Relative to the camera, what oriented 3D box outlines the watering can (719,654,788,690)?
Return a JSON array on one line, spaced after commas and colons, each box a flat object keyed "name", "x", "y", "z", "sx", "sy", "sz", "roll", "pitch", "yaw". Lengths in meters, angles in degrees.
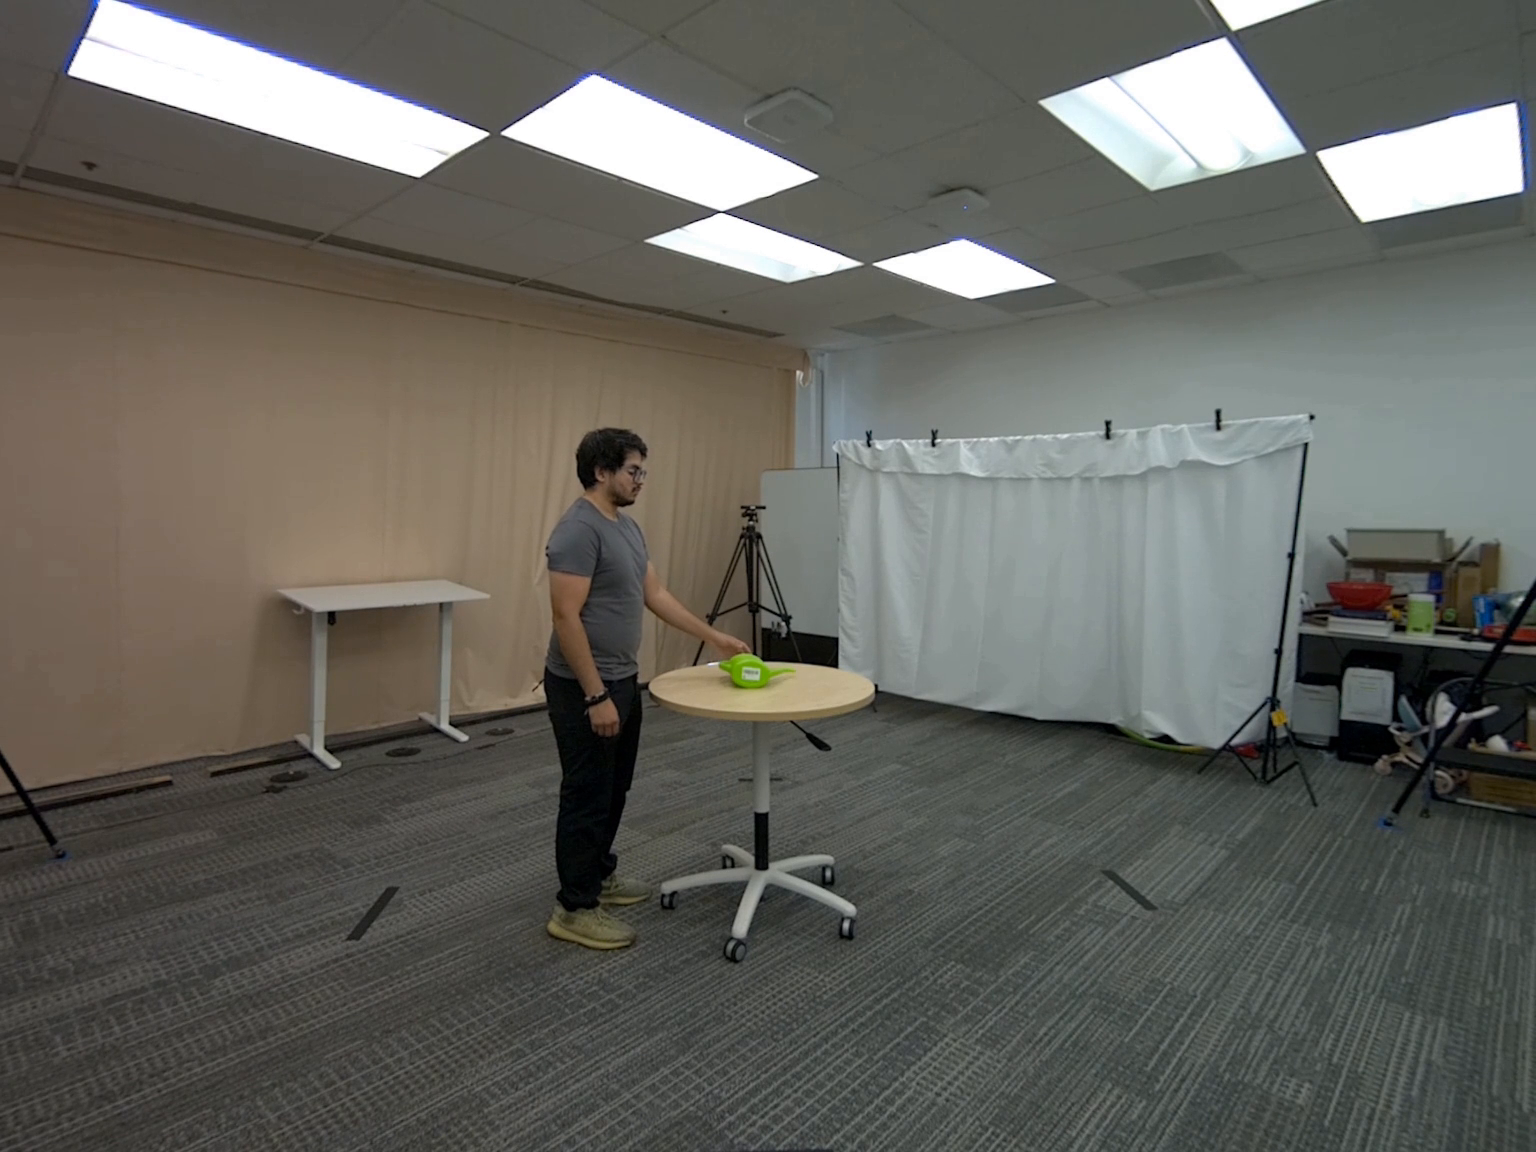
[{"name": "watering can", "x": -0.027, "y": 0.317, "z": 2.877, "sx": 0.276, "sy": 0.098, "sz": 0.179, "roll": -6, "pitch": 5, "yaw": -7}]
